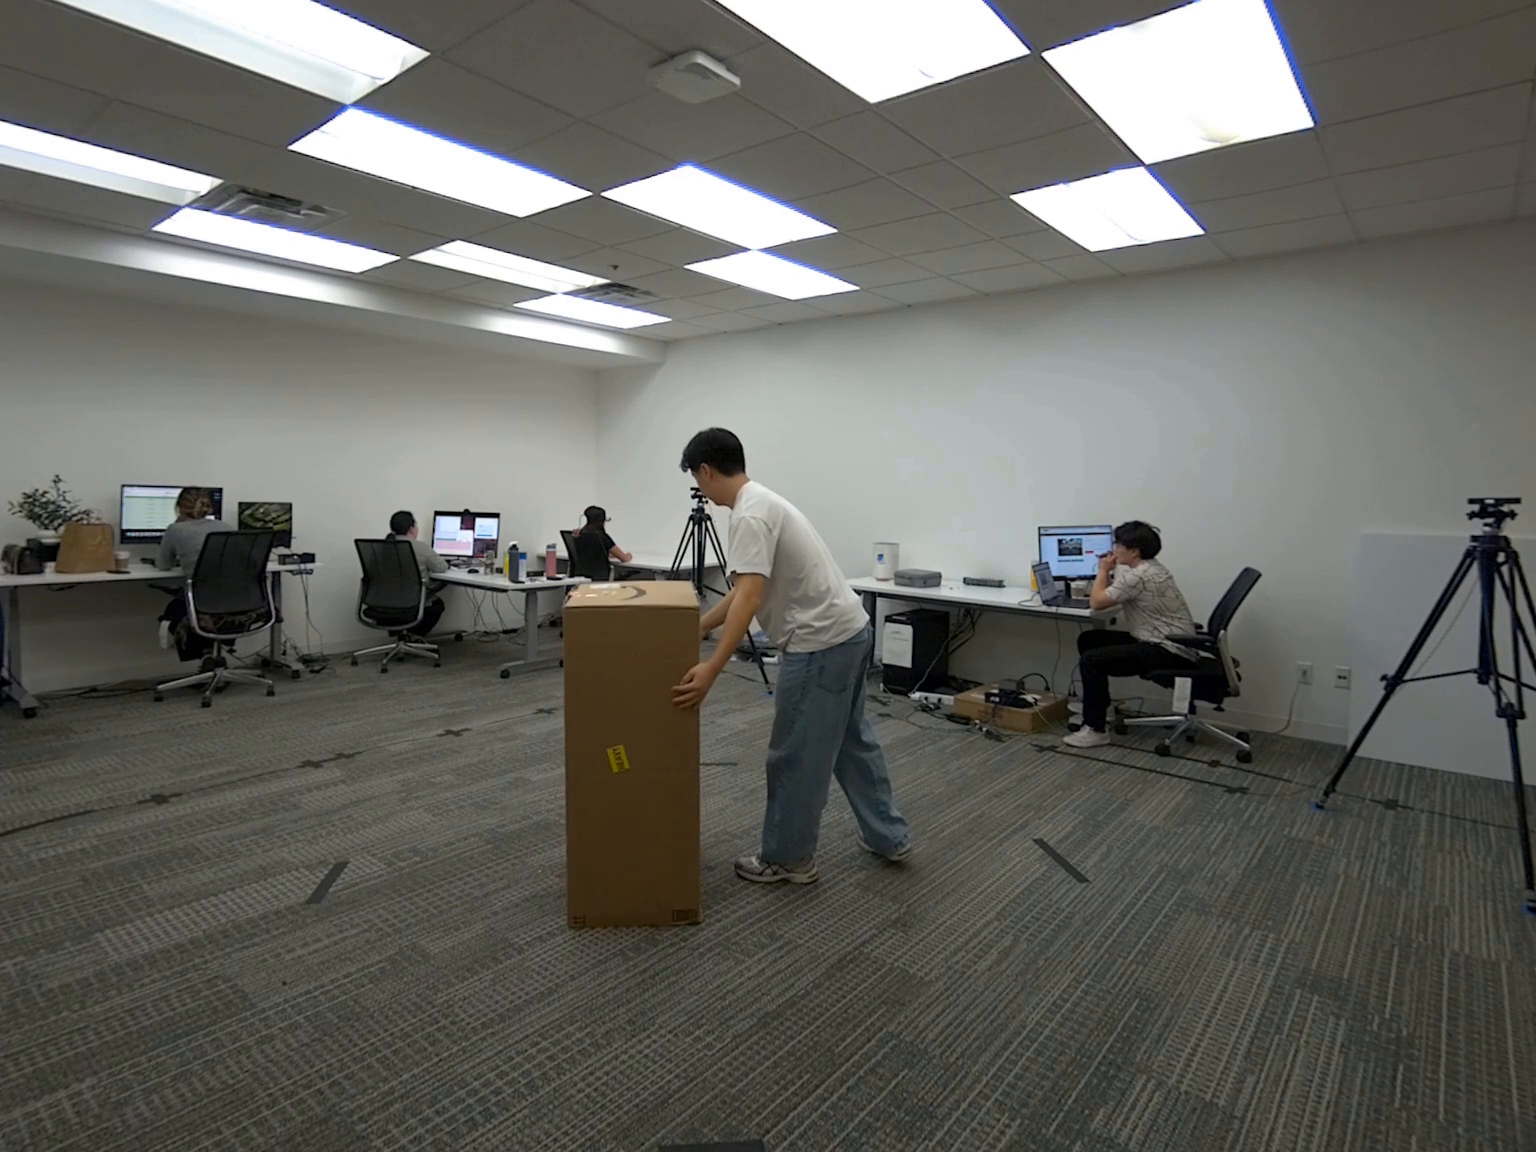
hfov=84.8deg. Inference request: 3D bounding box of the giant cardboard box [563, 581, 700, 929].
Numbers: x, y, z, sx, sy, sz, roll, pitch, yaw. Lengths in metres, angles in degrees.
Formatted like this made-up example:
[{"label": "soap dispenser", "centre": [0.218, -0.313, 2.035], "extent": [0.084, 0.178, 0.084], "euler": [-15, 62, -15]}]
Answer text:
[{"label": "giant cardboard box", "centre": [-0.475, 0.561, 2.930], "extent": [0.423, 1.021, 0.584], "euler": [-1, 5, -7]}]
